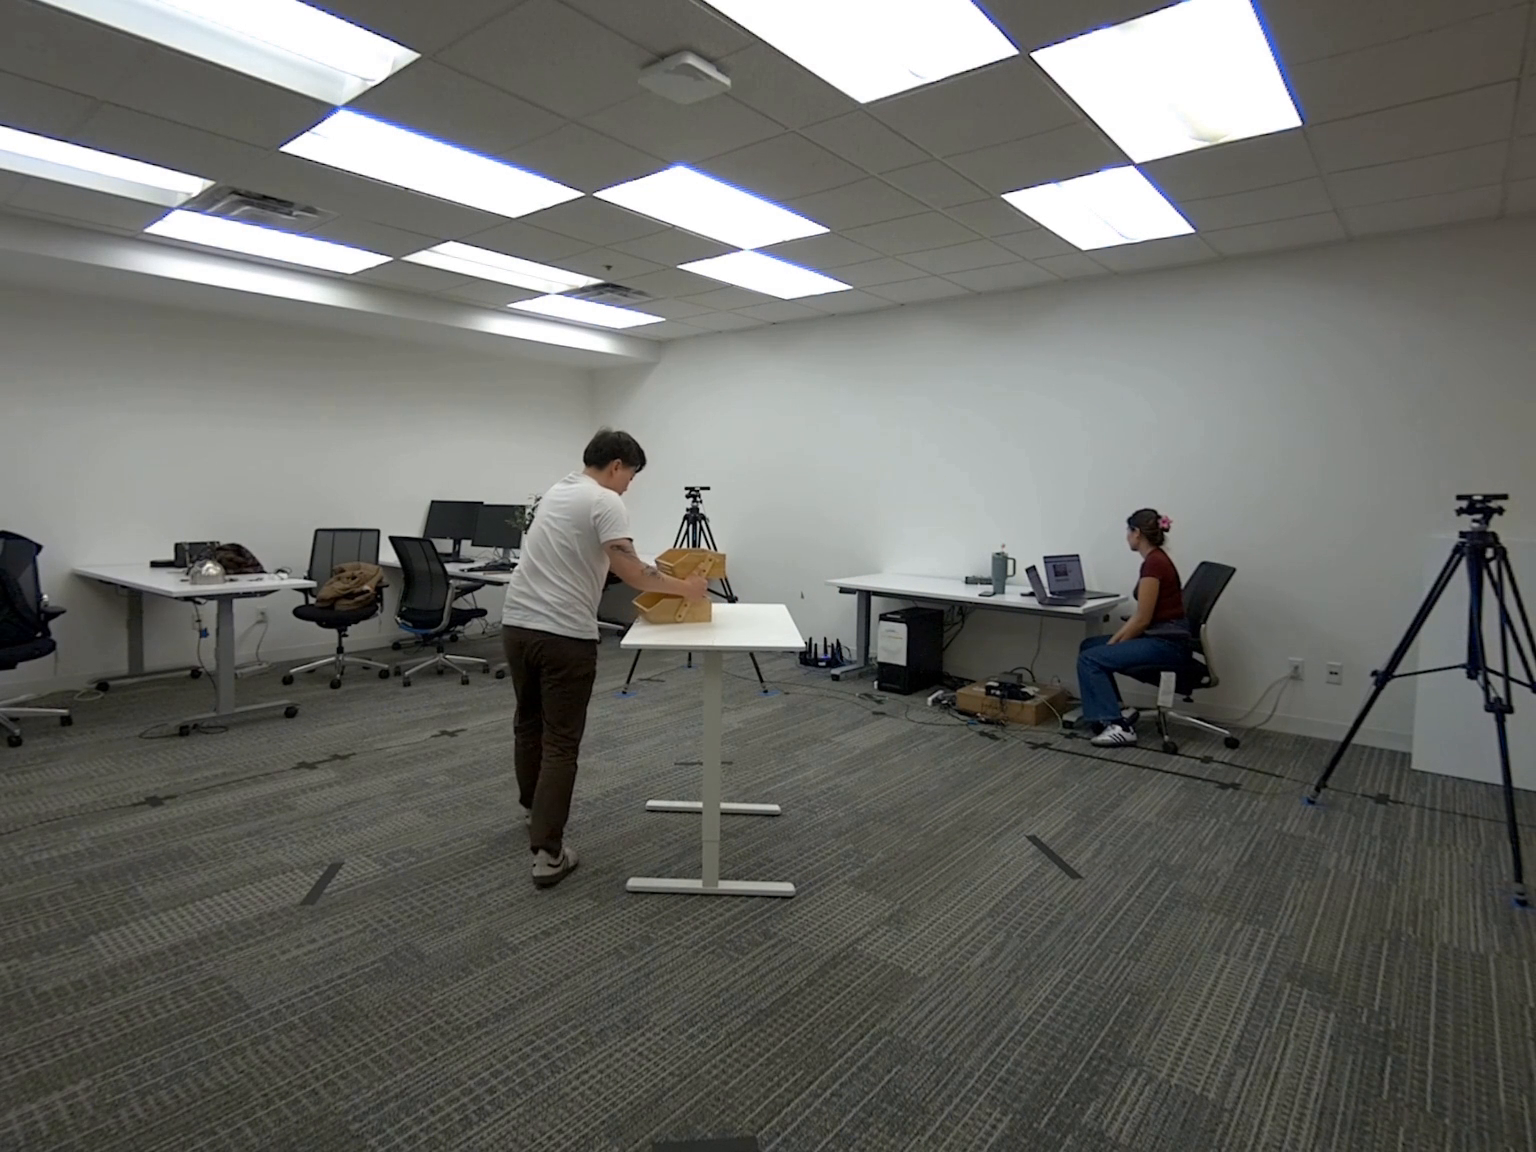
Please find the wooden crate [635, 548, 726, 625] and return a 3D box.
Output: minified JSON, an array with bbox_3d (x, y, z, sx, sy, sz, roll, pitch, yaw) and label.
[{"bbox_3d":[-0.368,0.028,3.331,0.296,0.272,0.332,0,5,-19],"label":"wooden crate"}]
